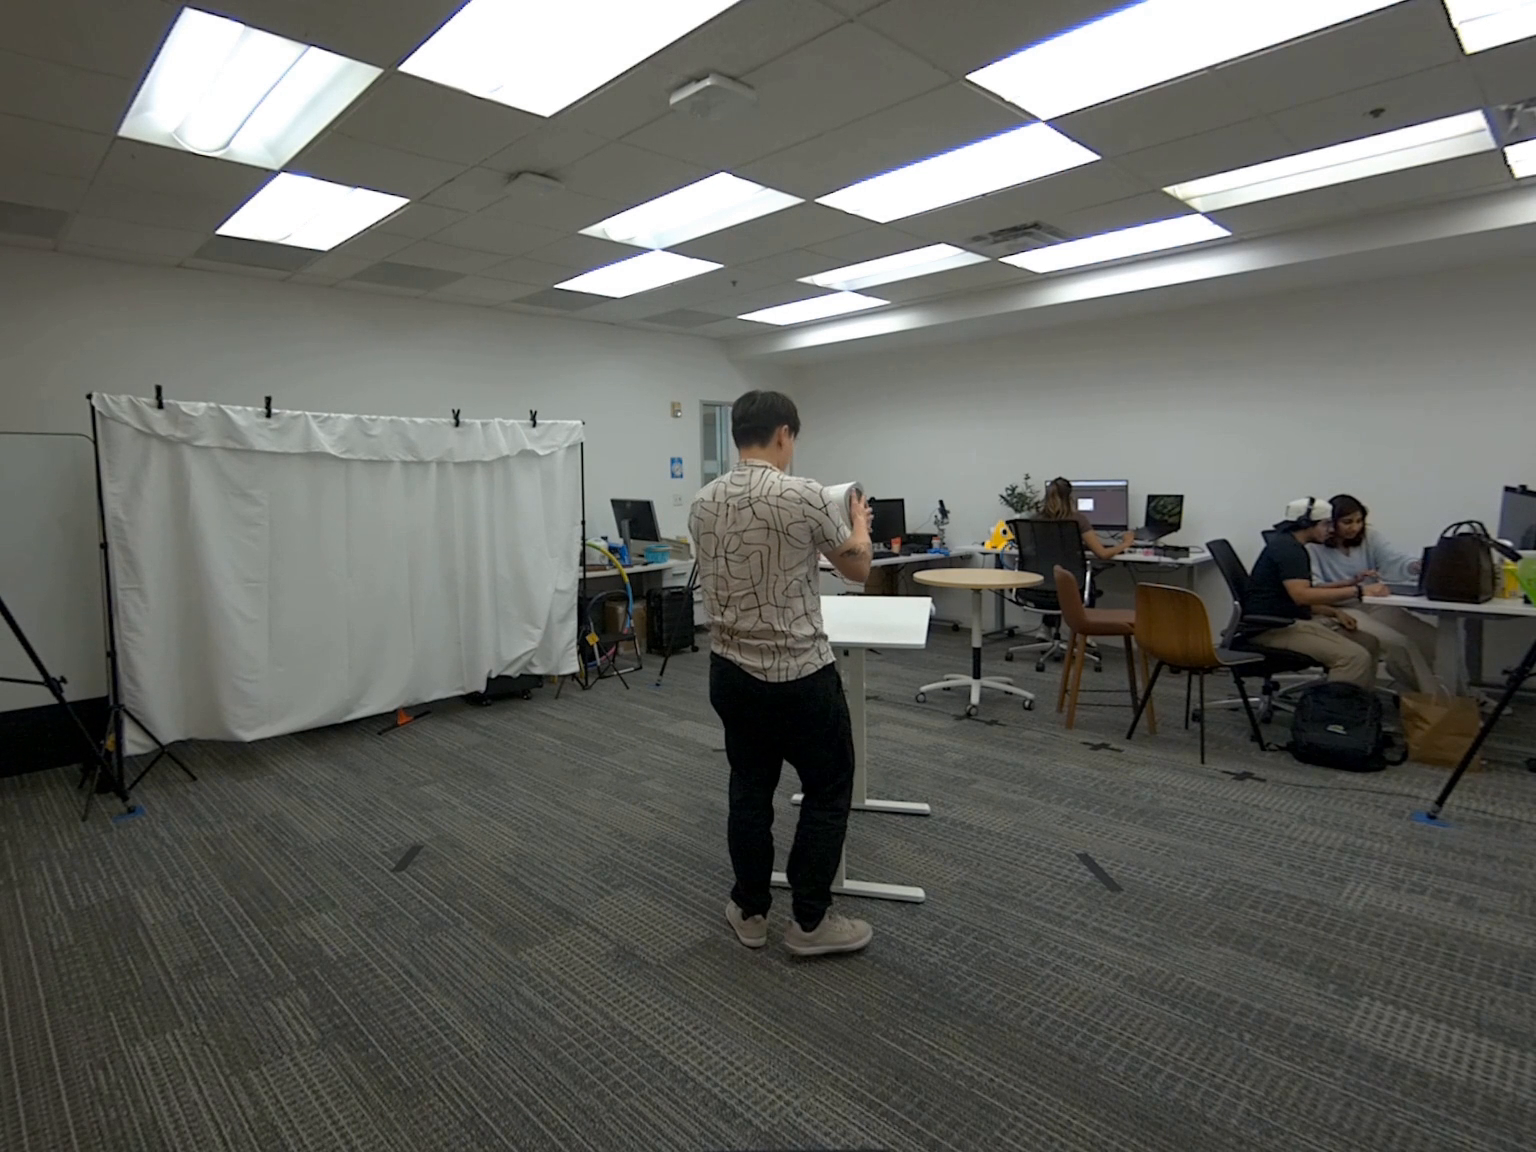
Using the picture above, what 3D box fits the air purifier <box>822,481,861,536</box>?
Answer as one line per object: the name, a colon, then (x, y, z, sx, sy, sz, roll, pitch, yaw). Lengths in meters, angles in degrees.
air purifier: (0.189, -0.202, 2.838, 0.271, 0.168, 0.171, -8, 17, 30)
